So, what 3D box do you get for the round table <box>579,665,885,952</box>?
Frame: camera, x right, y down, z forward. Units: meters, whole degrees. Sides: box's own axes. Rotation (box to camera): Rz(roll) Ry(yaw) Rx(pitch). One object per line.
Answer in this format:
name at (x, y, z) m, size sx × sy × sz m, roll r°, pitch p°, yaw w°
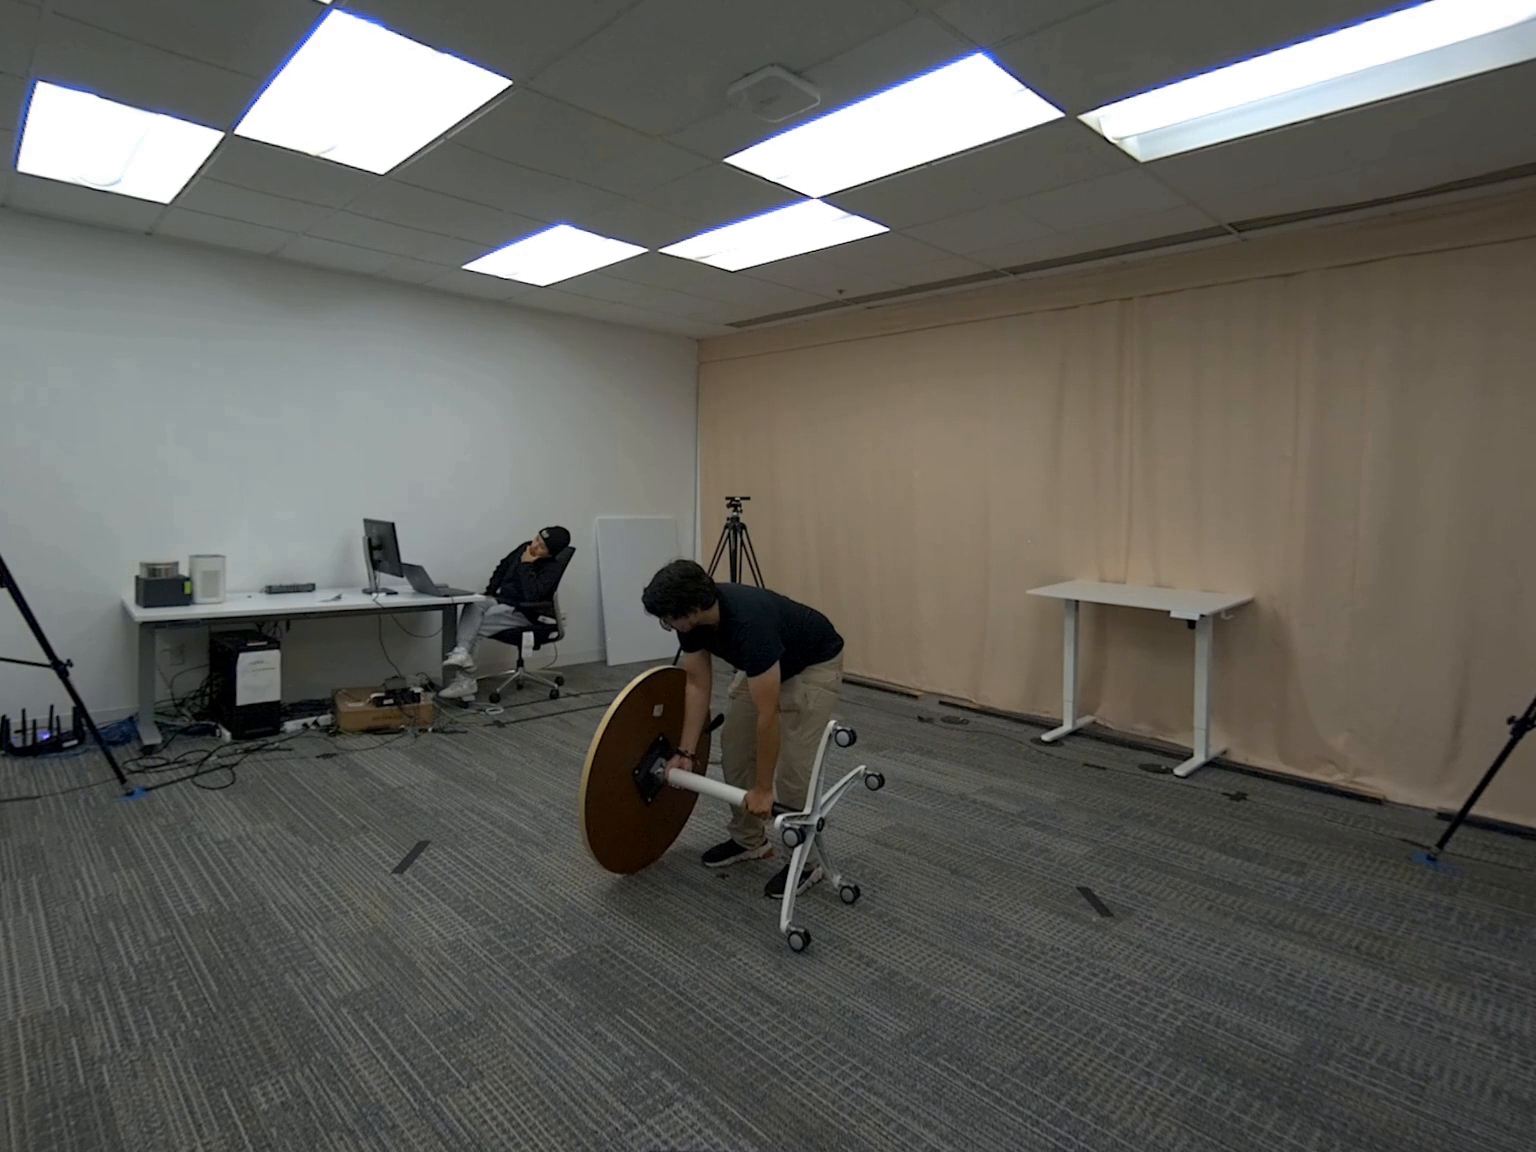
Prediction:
round table at (-0.105, 0.760, 2.924) m, size 0.805 × 0.782 × 0.770 m, roll 8°, pitch 7°, yaw 30°
